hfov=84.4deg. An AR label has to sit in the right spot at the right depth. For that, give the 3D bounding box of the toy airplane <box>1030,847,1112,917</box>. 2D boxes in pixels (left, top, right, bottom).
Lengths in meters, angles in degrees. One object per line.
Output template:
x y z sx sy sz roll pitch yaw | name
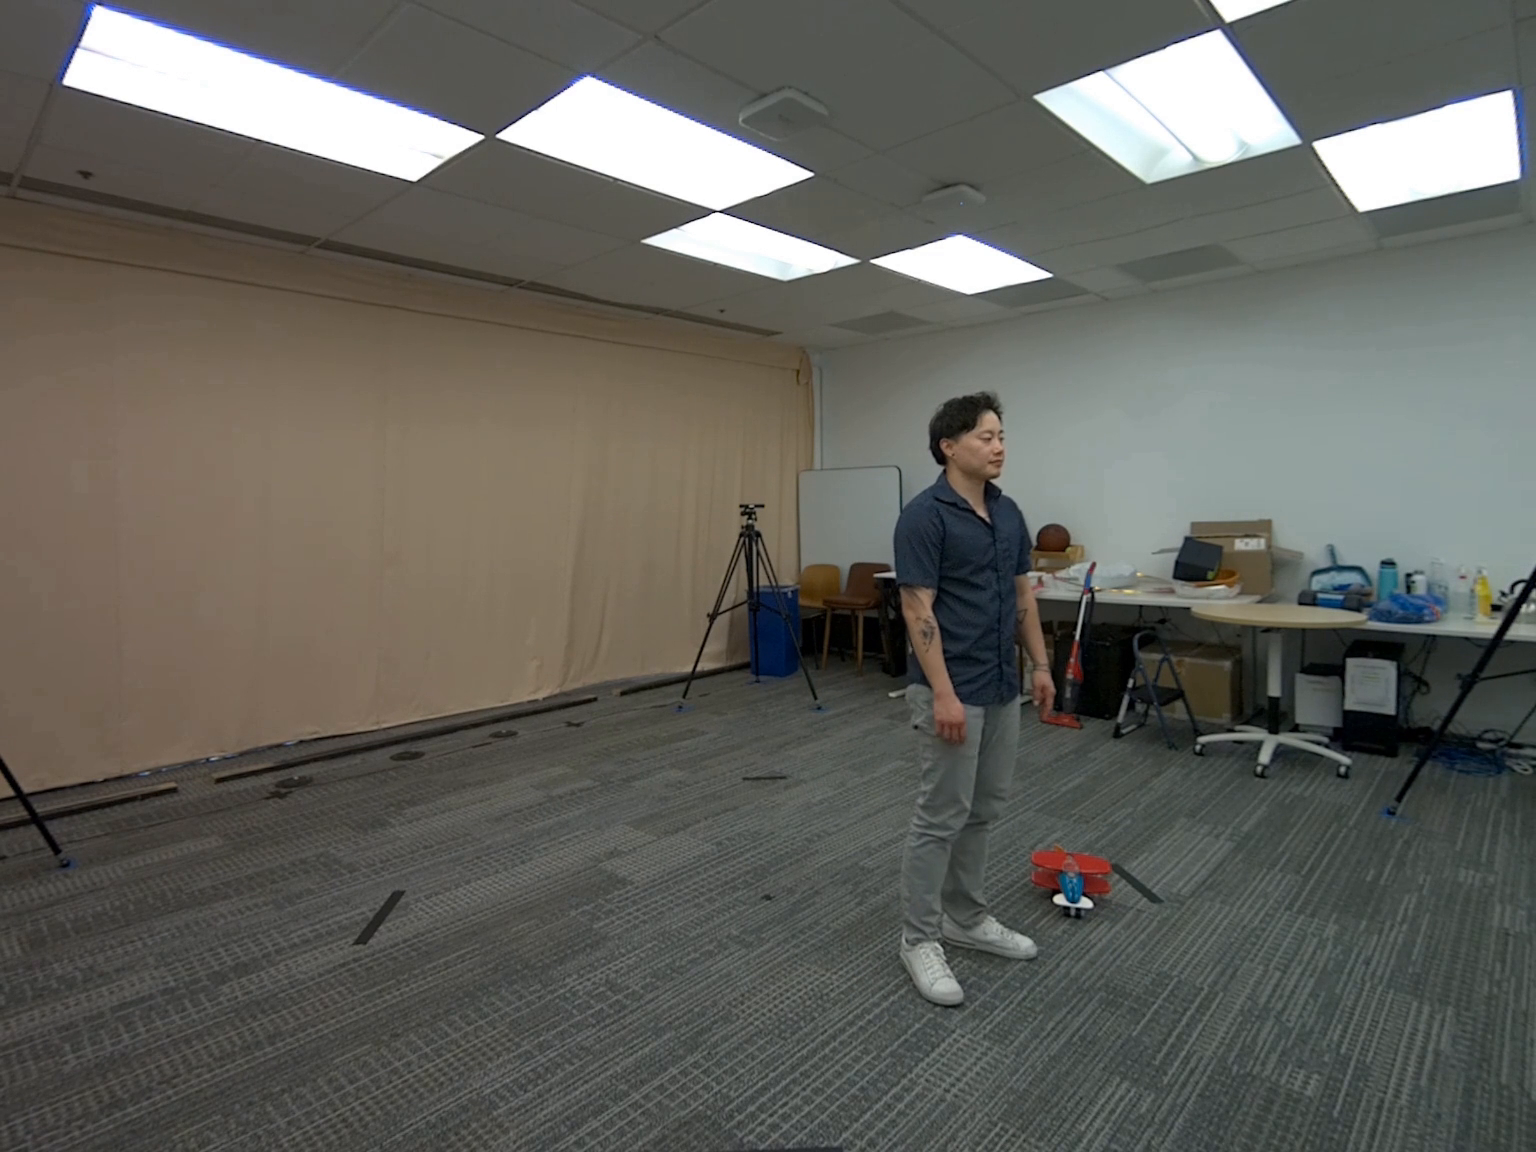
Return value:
1.067 1.055 2.886 0.248 0.156 0.263 -1 3 -11 | toy airplane
